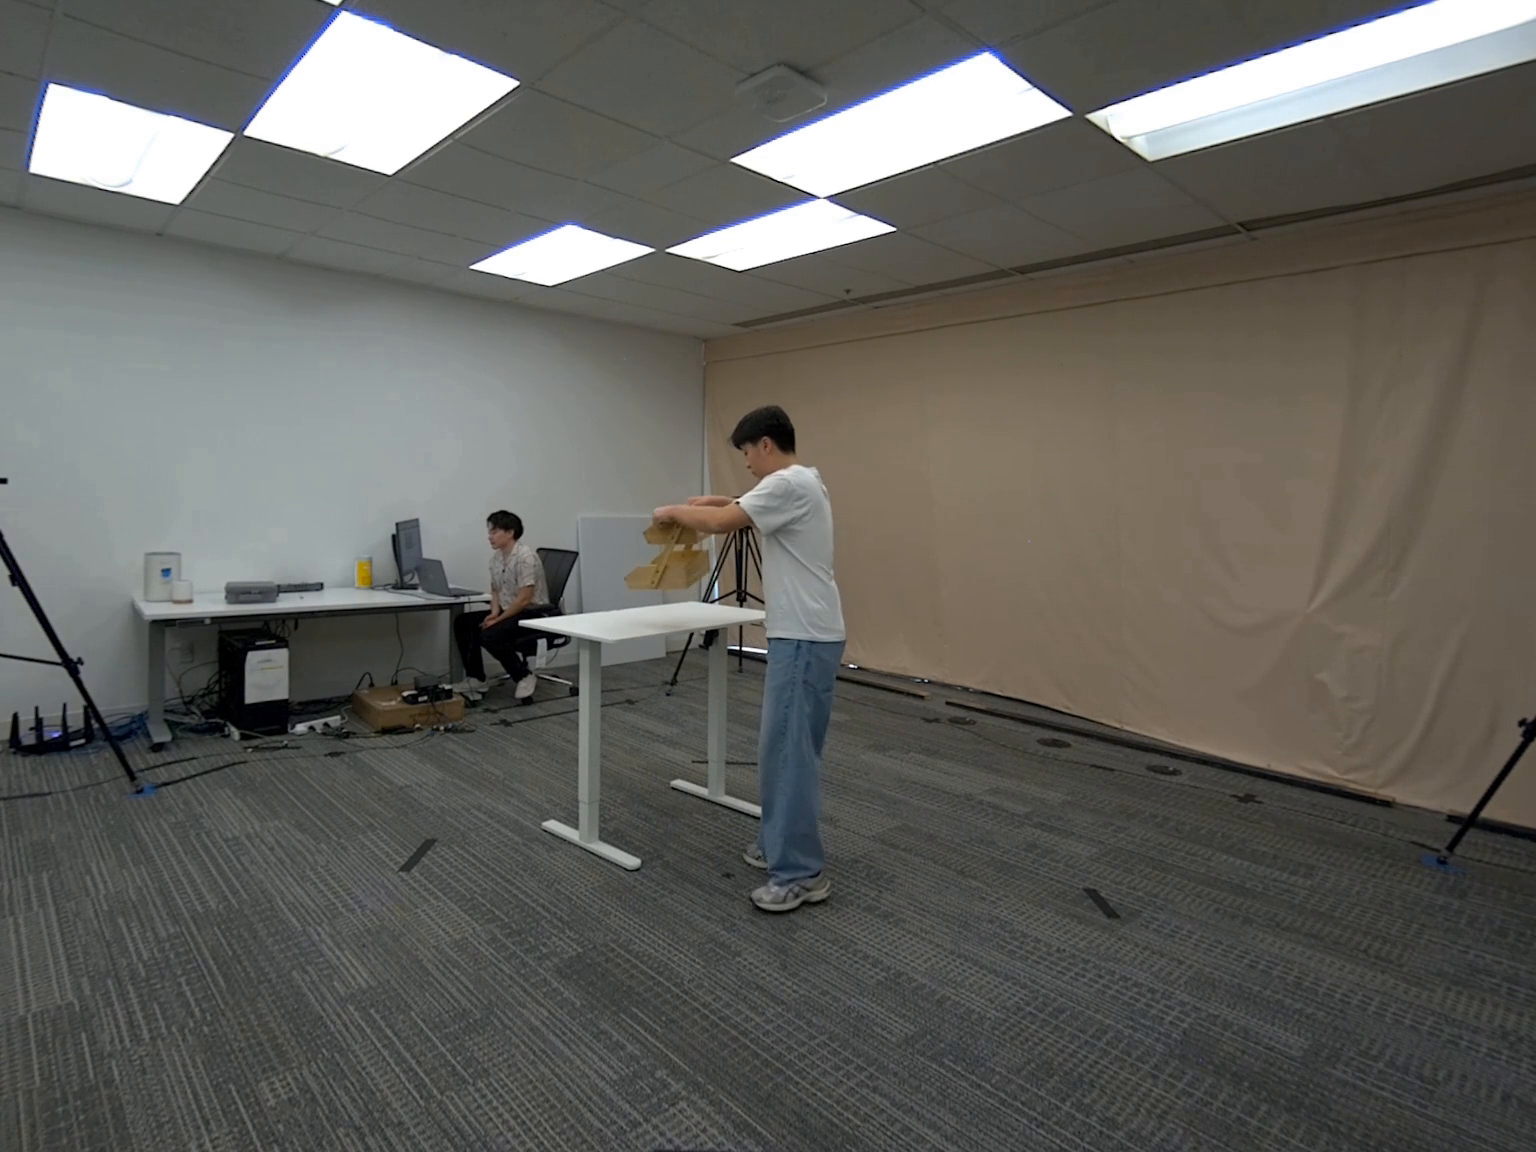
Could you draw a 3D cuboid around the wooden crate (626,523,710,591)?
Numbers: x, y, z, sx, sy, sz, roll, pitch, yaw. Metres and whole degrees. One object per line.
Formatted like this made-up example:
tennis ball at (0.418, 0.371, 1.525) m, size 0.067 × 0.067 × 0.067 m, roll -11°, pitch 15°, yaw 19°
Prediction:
wooden crate at (-0.373, -0.090, 3.262) m, size 0.305 × 0.271 × 0.323 m, roll -1°, pitch 10°, yaw 13°
